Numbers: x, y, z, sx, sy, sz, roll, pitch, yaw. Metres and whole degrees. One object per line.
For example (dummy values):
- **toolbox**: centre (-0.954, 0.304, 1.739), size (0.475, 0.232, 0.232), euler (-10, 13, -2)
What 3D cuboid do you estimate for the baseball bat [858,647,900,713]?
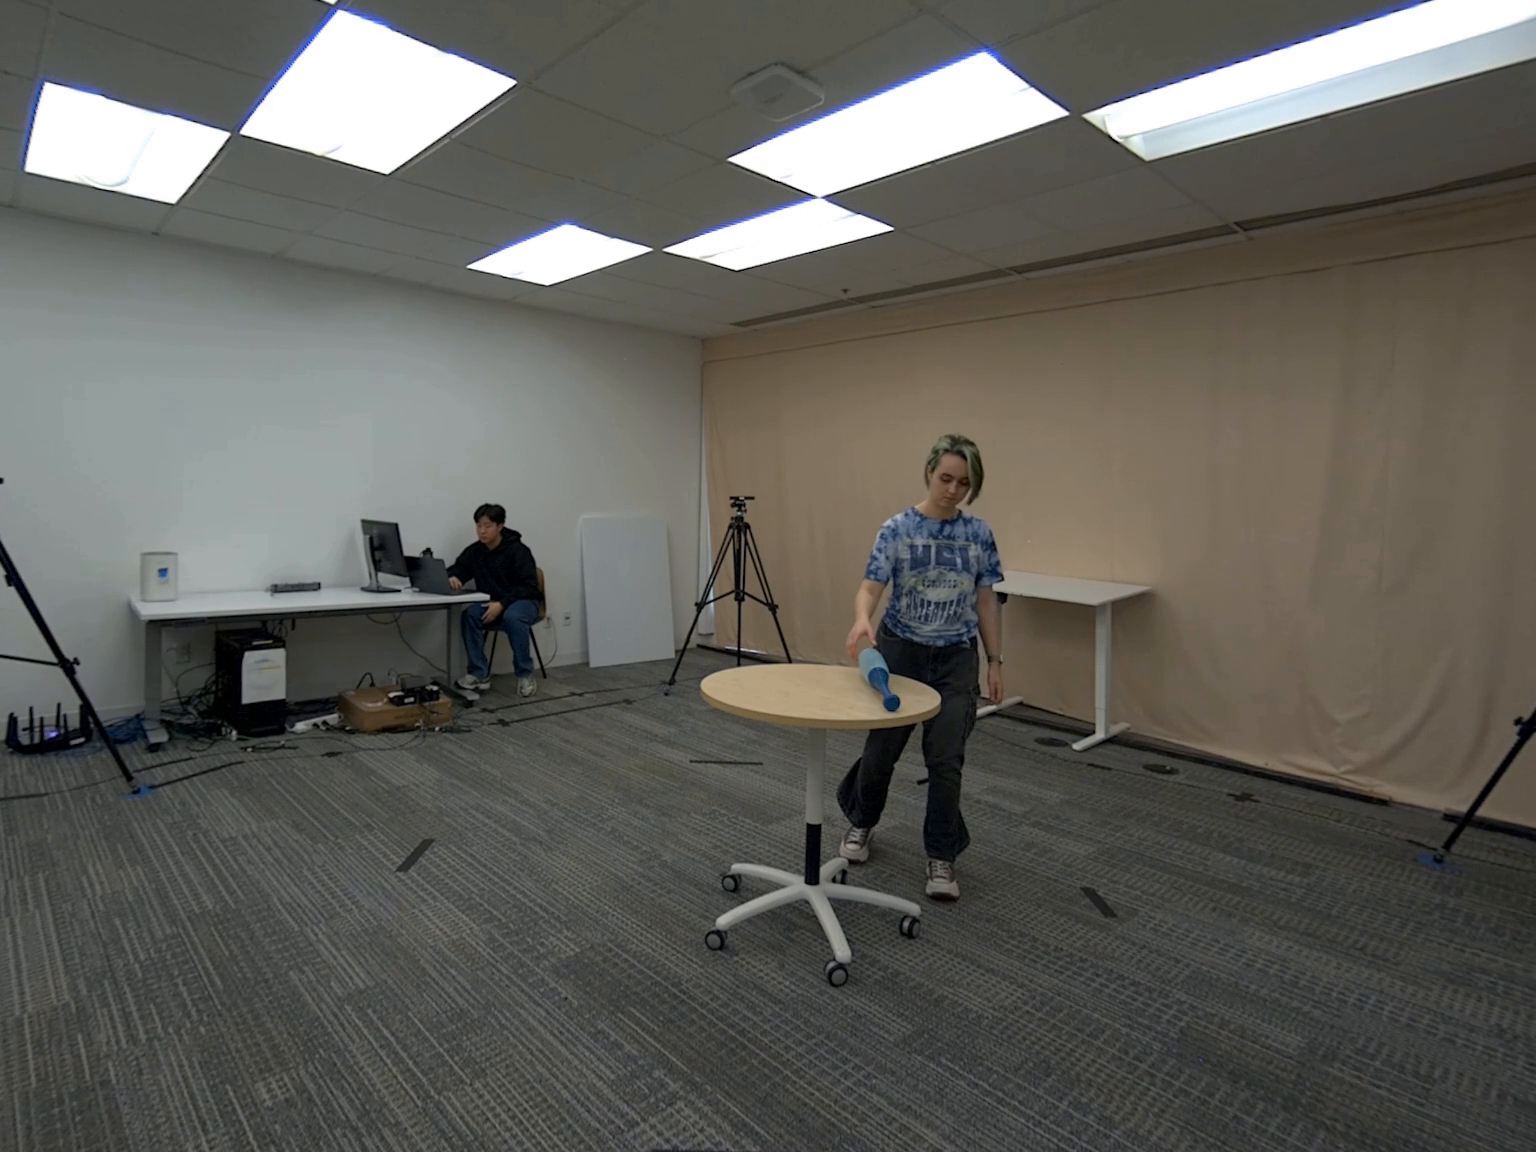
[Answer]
- **baseball bat**: centre (0.356, 0.335, 2.695), size (0.089, 0.088, 0.546), euler (1, 8, -2)
